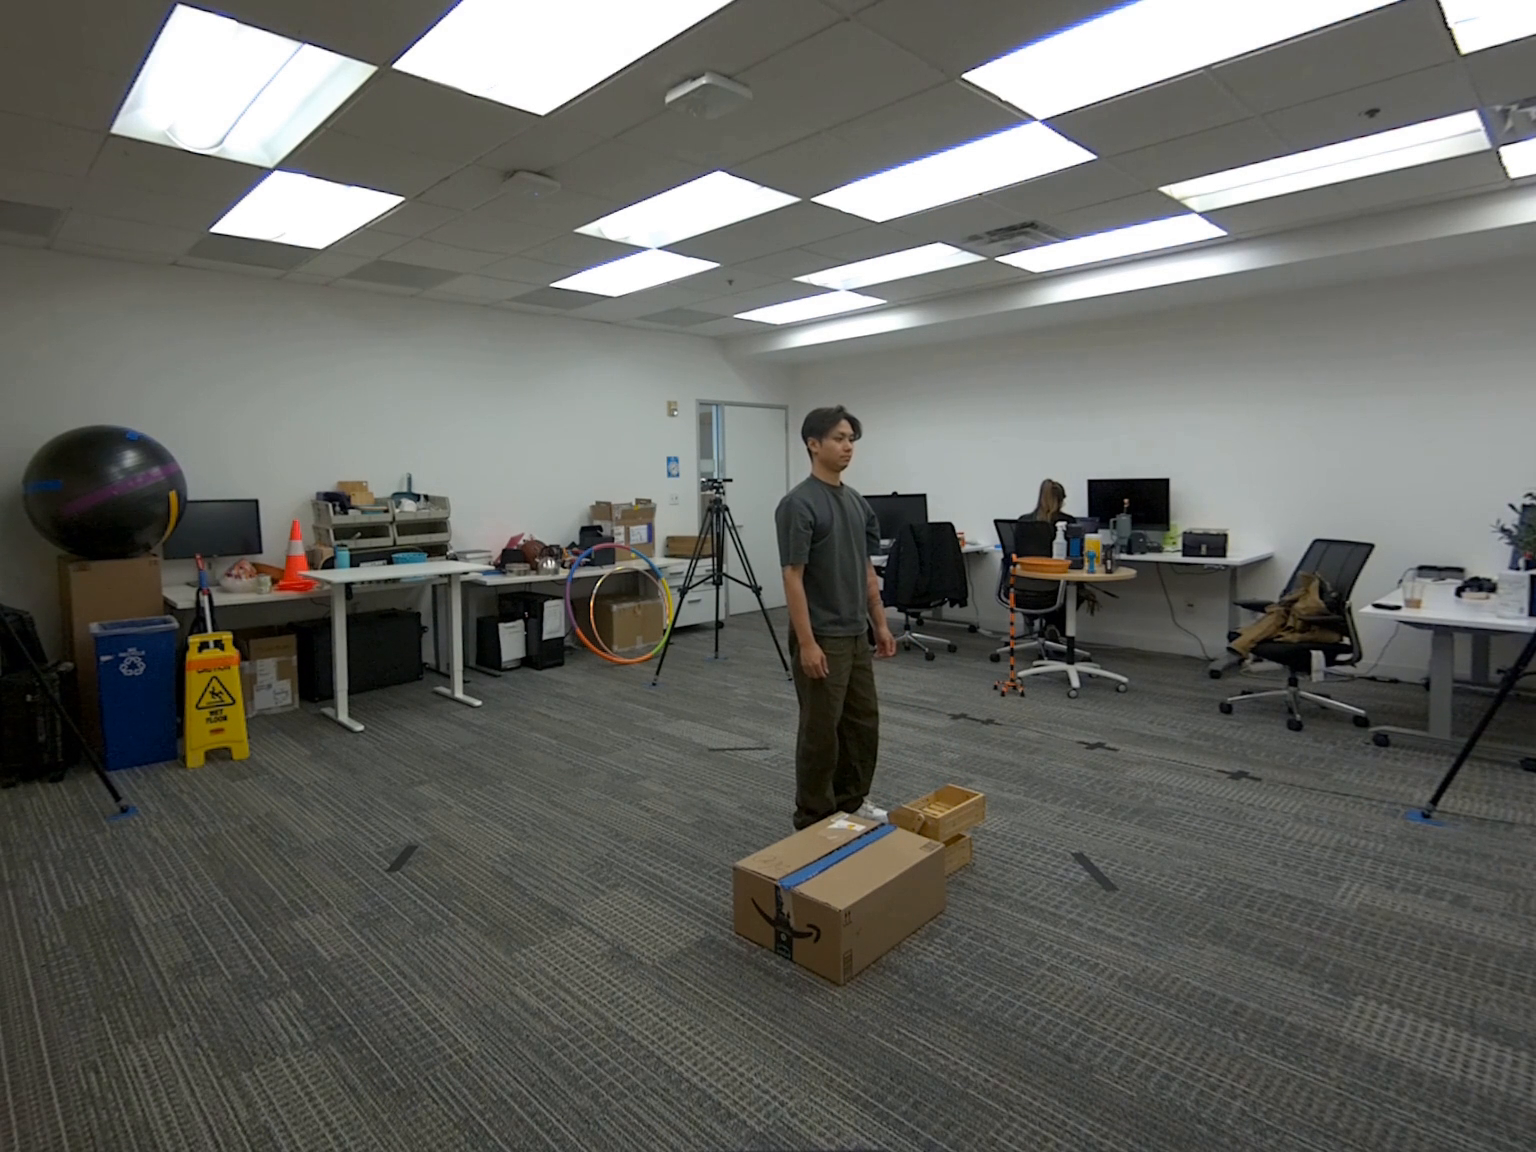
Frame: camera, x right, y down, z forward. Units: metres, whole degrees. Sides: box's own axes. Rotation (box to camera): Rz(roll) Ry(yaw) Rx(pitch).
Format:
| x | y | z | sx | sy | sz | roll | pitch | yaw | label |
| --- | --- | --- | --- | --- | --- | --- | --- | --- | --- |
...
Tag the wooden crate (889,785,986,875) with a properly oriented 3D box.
| x | y | z | sx | sy | sz | roll | pitch | yaw | label |
| --- | --- | --- | --- | --- | --- | --- | --- | --- | --- |
| 0.562 | 0.901 | 3.061 | 0.316 | 0.272 | 0.311 | -5 | 6 | -44 | wooden crate |
